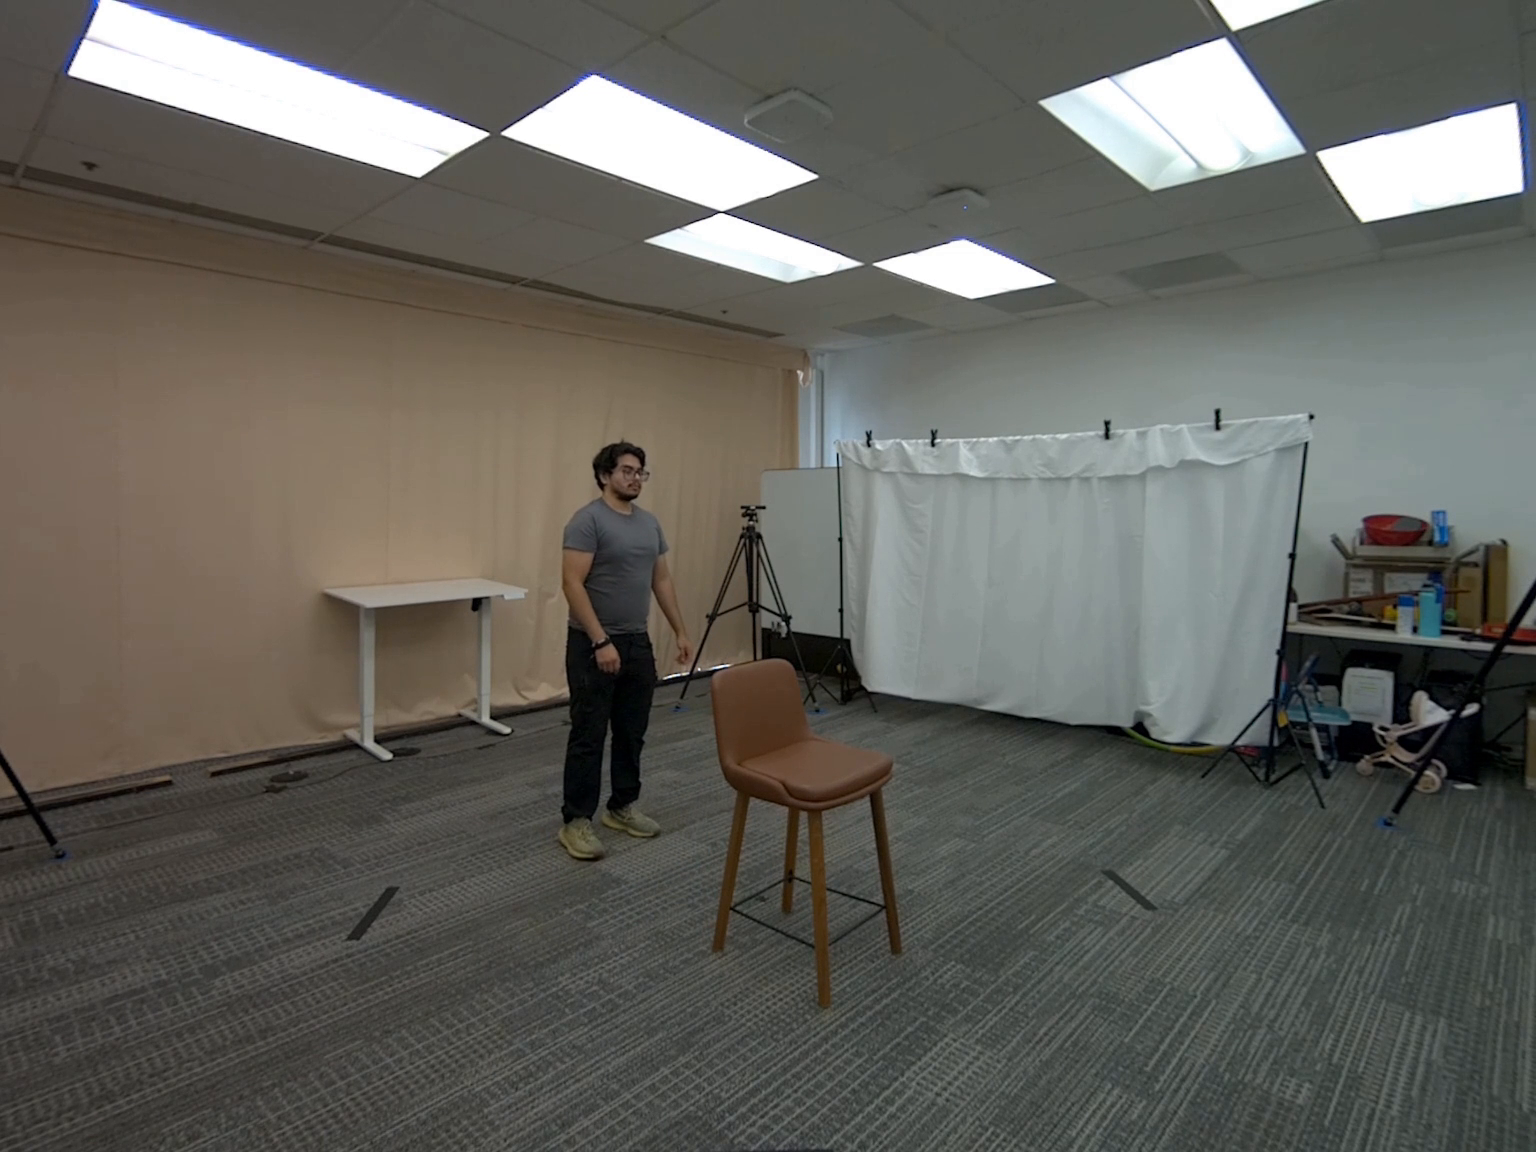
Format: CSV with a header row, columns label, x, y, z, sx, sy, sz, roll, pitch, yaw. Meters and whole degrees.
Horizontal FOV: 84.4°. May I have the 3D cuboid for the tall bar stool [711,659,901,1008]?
label,x,y,z,sx,sy,sz,roll,pitch,yaw
tall bar stool,0.116,0.740,2.606,0.483,0.888,0.442,0,3,42
